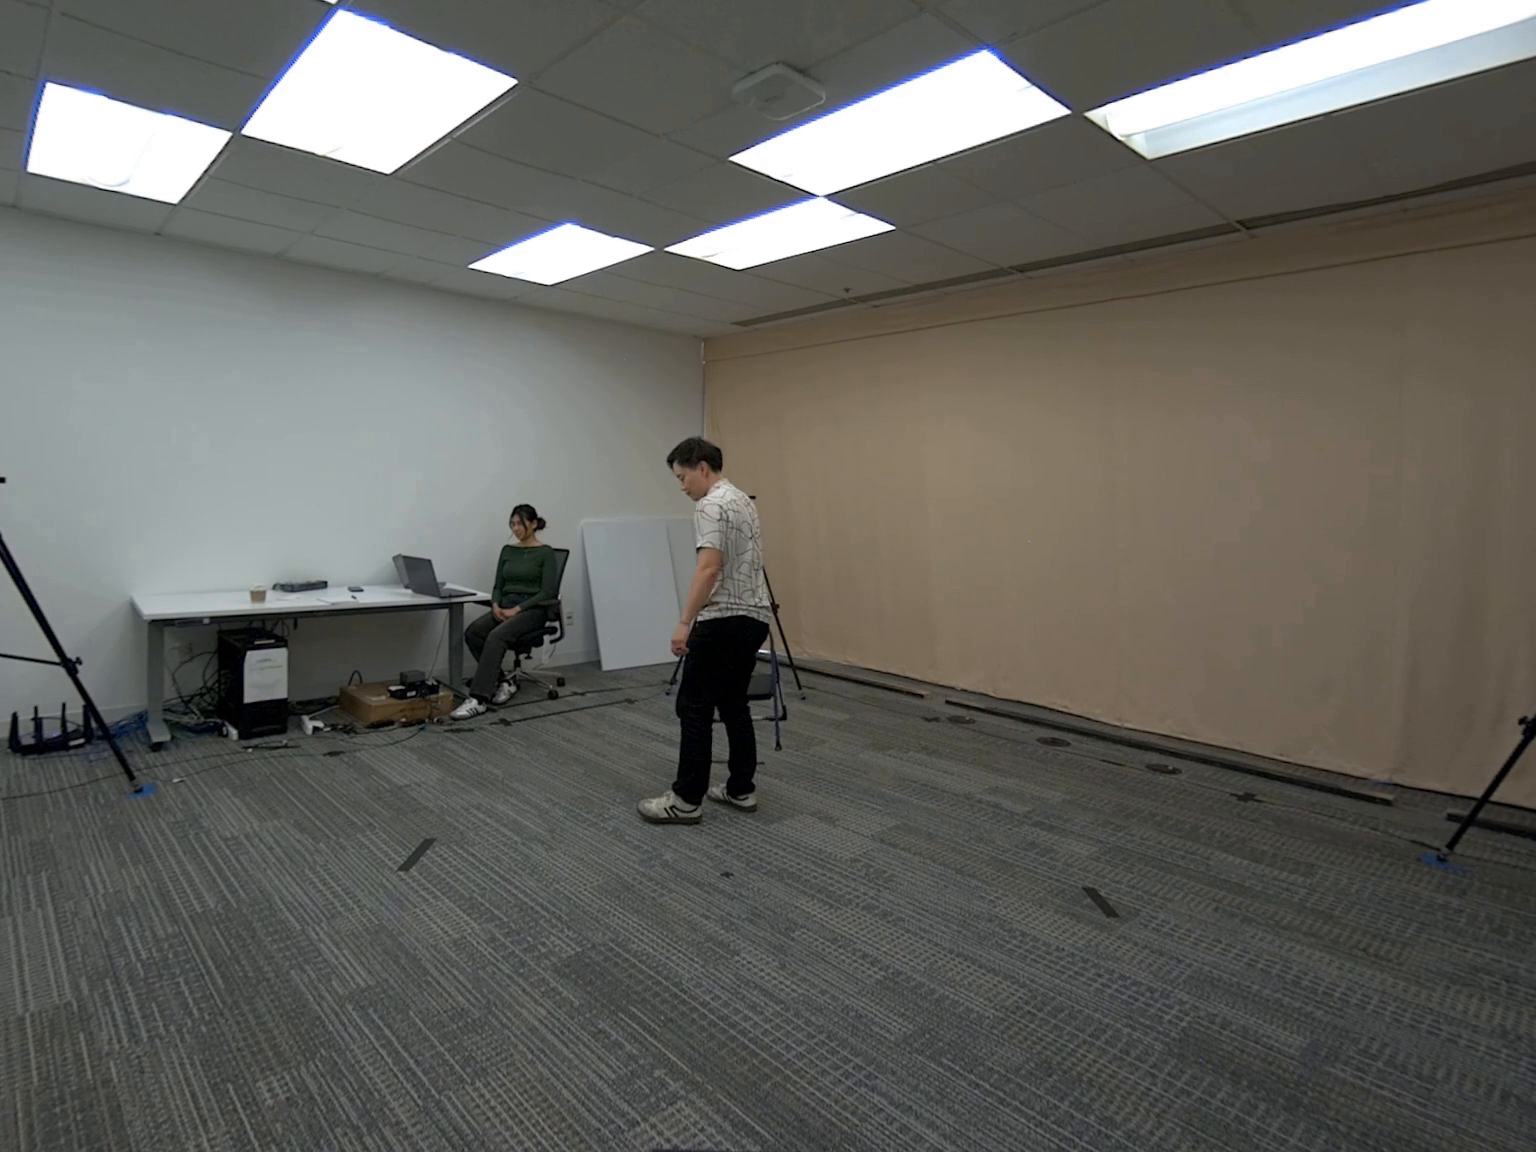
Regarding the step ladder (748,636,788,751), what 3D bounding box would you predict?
[{"bbox_3d":[-0.166,0.506,4.126,0.434,0.599,0.350,-3,14,11],"label":"step ladder"}]
